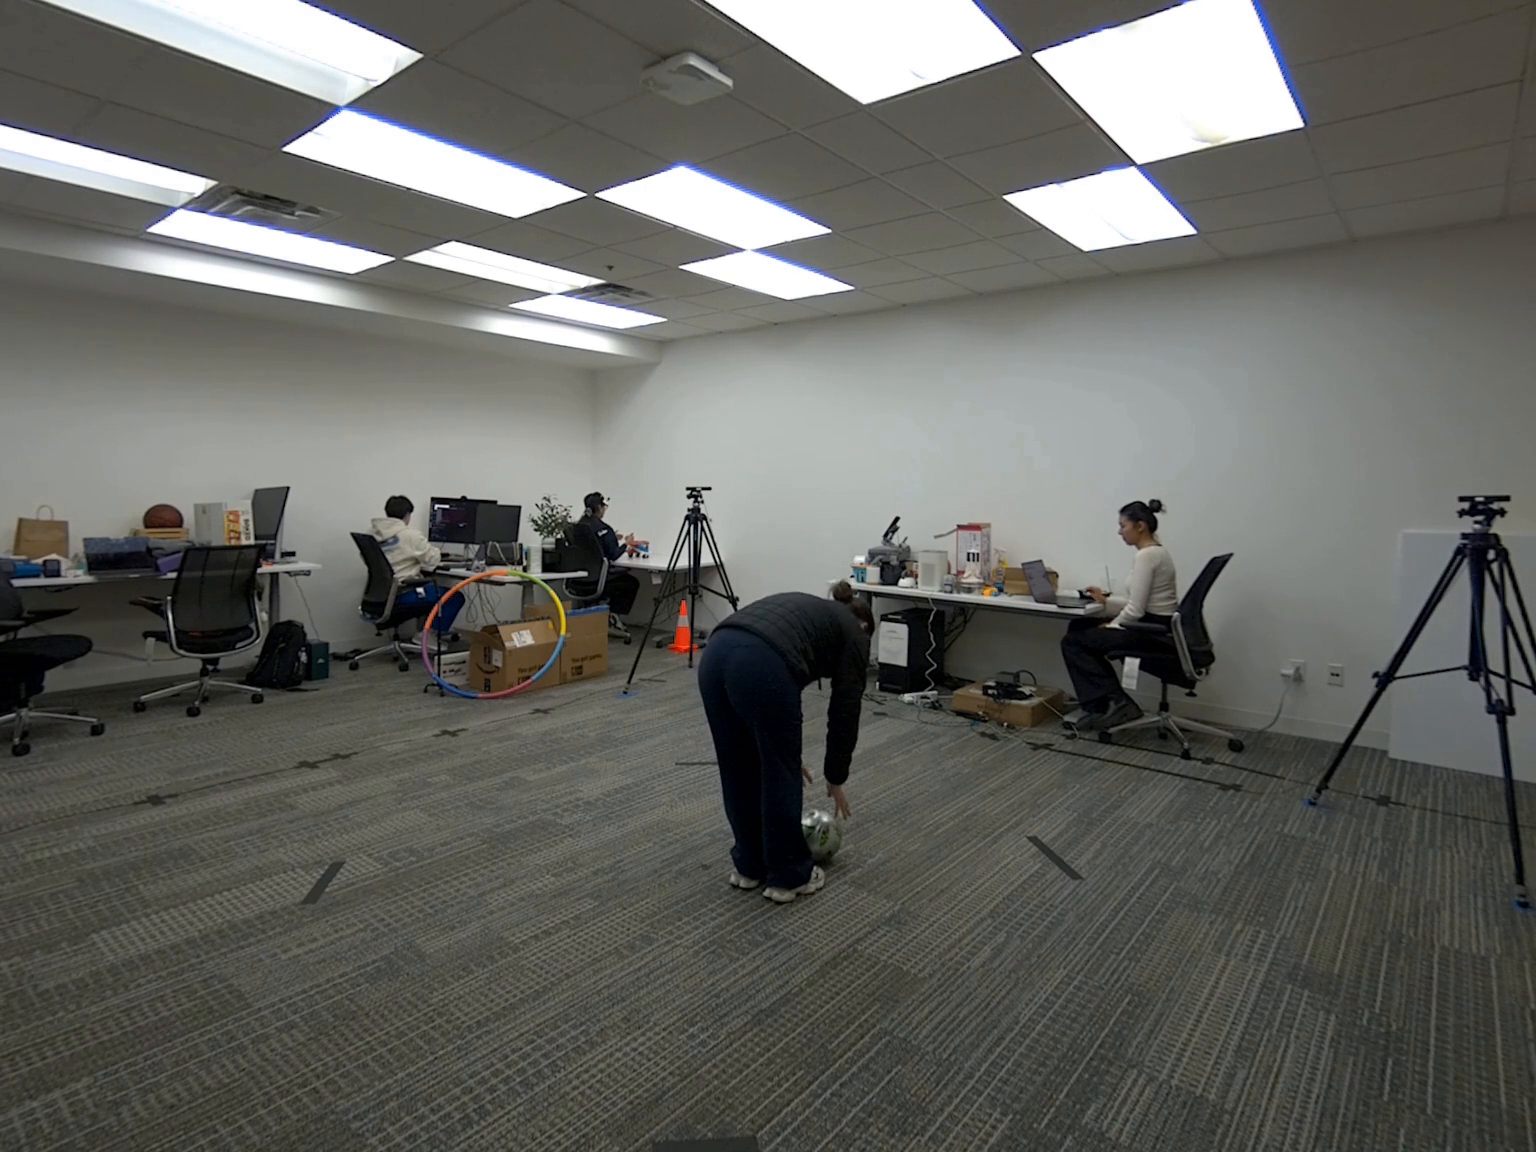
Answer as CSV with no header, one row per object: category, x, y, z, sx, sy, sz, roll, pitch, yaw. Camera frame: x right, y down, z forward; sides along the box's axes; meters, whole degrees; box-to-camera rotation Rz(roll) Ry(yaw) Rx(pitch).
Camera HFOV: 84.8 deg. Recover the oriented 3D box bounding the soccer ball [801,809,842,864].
soccer ball,0.182,0.971,3.196,0.187,0.187,0.188,1,4,-2
